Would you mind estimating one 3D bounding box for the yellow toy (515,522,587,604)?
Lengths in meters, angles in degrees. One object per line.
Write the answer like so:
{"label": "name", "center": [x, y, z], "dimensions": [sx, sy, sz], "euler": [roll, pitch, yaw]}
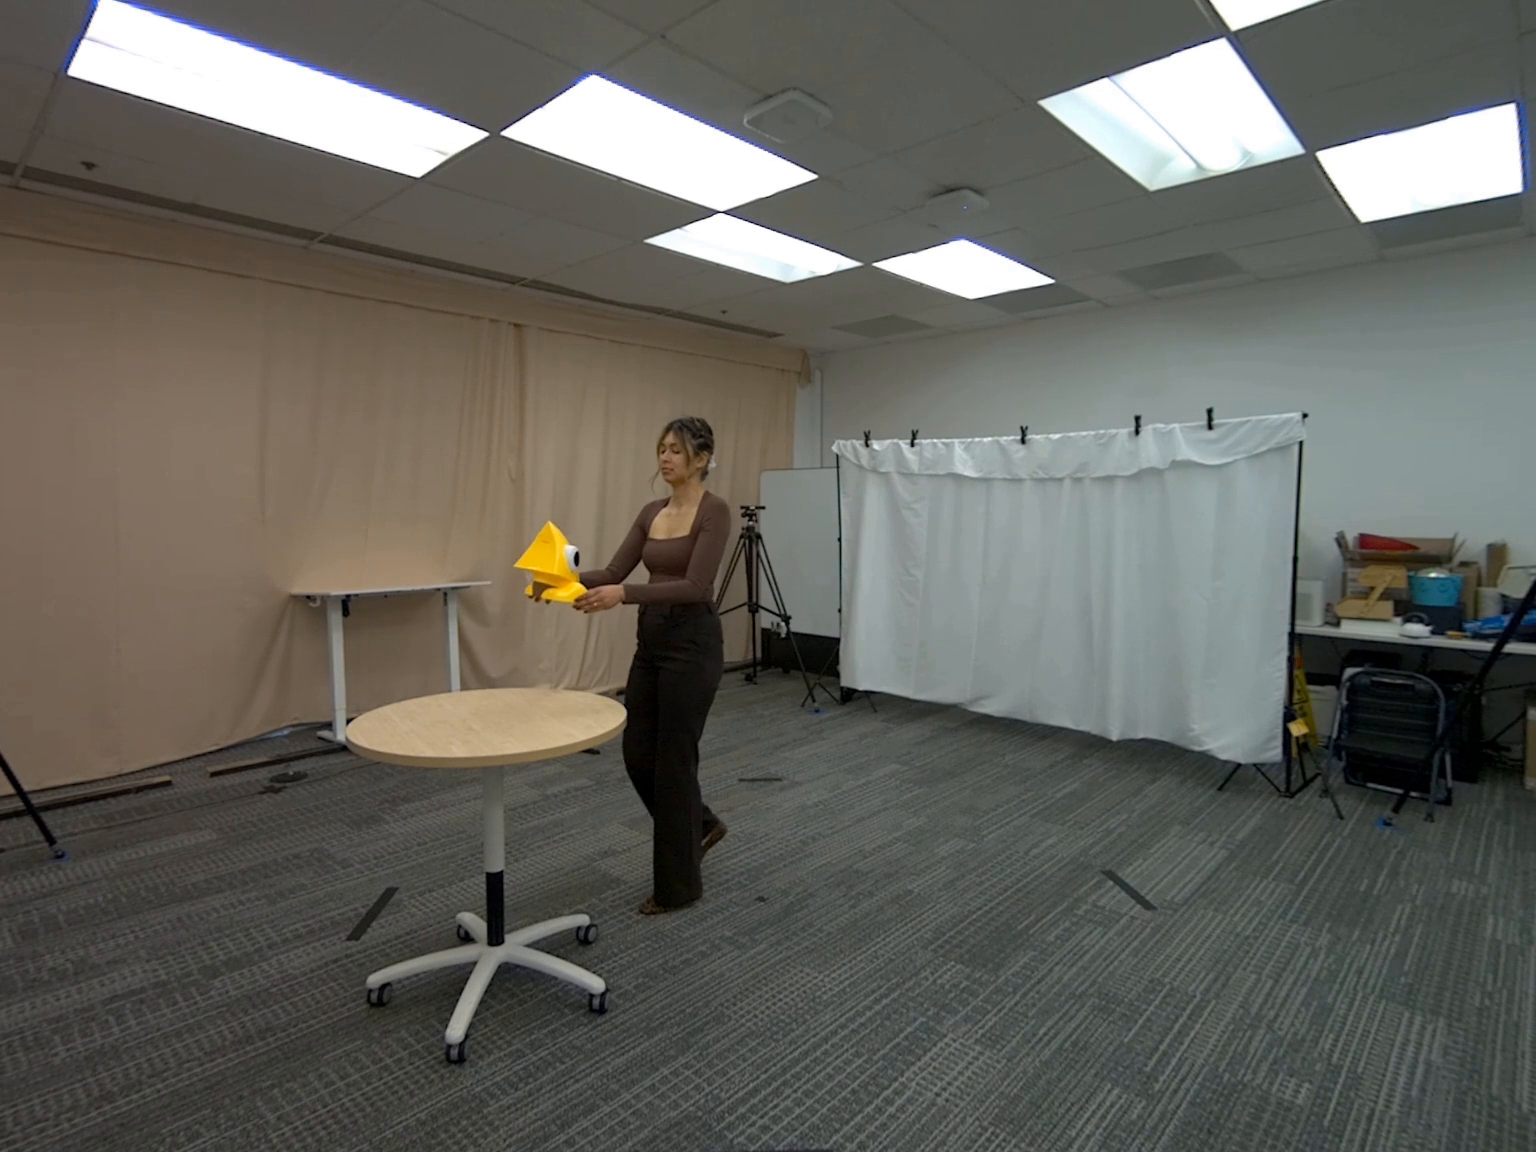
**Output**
{"label": "yellow toy", "center": [-0.640, -0.046, 2.588], "dimensions": [0.212, 0.230, 0.187], "euler": [9, 2, 38]}
